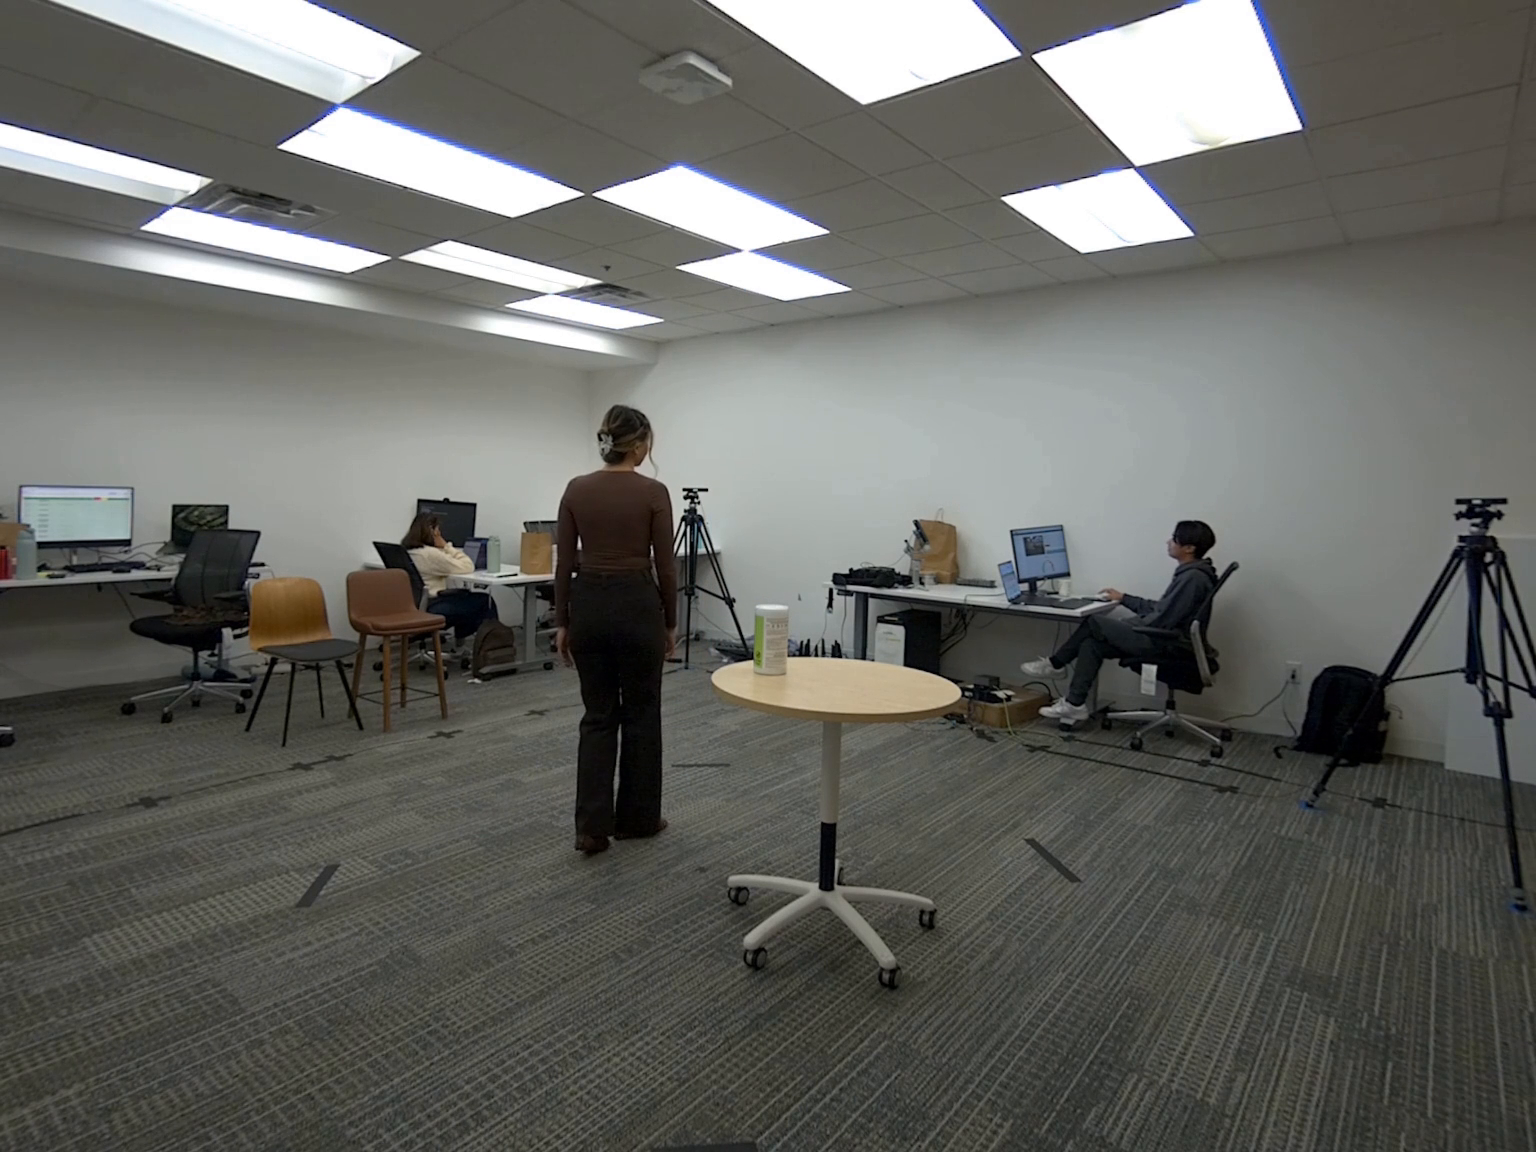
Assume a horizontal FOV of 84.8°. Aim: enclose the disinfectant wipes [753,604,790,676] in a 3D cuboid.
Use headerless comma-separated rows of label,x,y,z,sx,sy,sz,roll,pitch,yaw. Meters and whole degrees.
disinfectant wipes,0.004,0.205,2.751,0.118,0.217,0.118,1,2,-2
